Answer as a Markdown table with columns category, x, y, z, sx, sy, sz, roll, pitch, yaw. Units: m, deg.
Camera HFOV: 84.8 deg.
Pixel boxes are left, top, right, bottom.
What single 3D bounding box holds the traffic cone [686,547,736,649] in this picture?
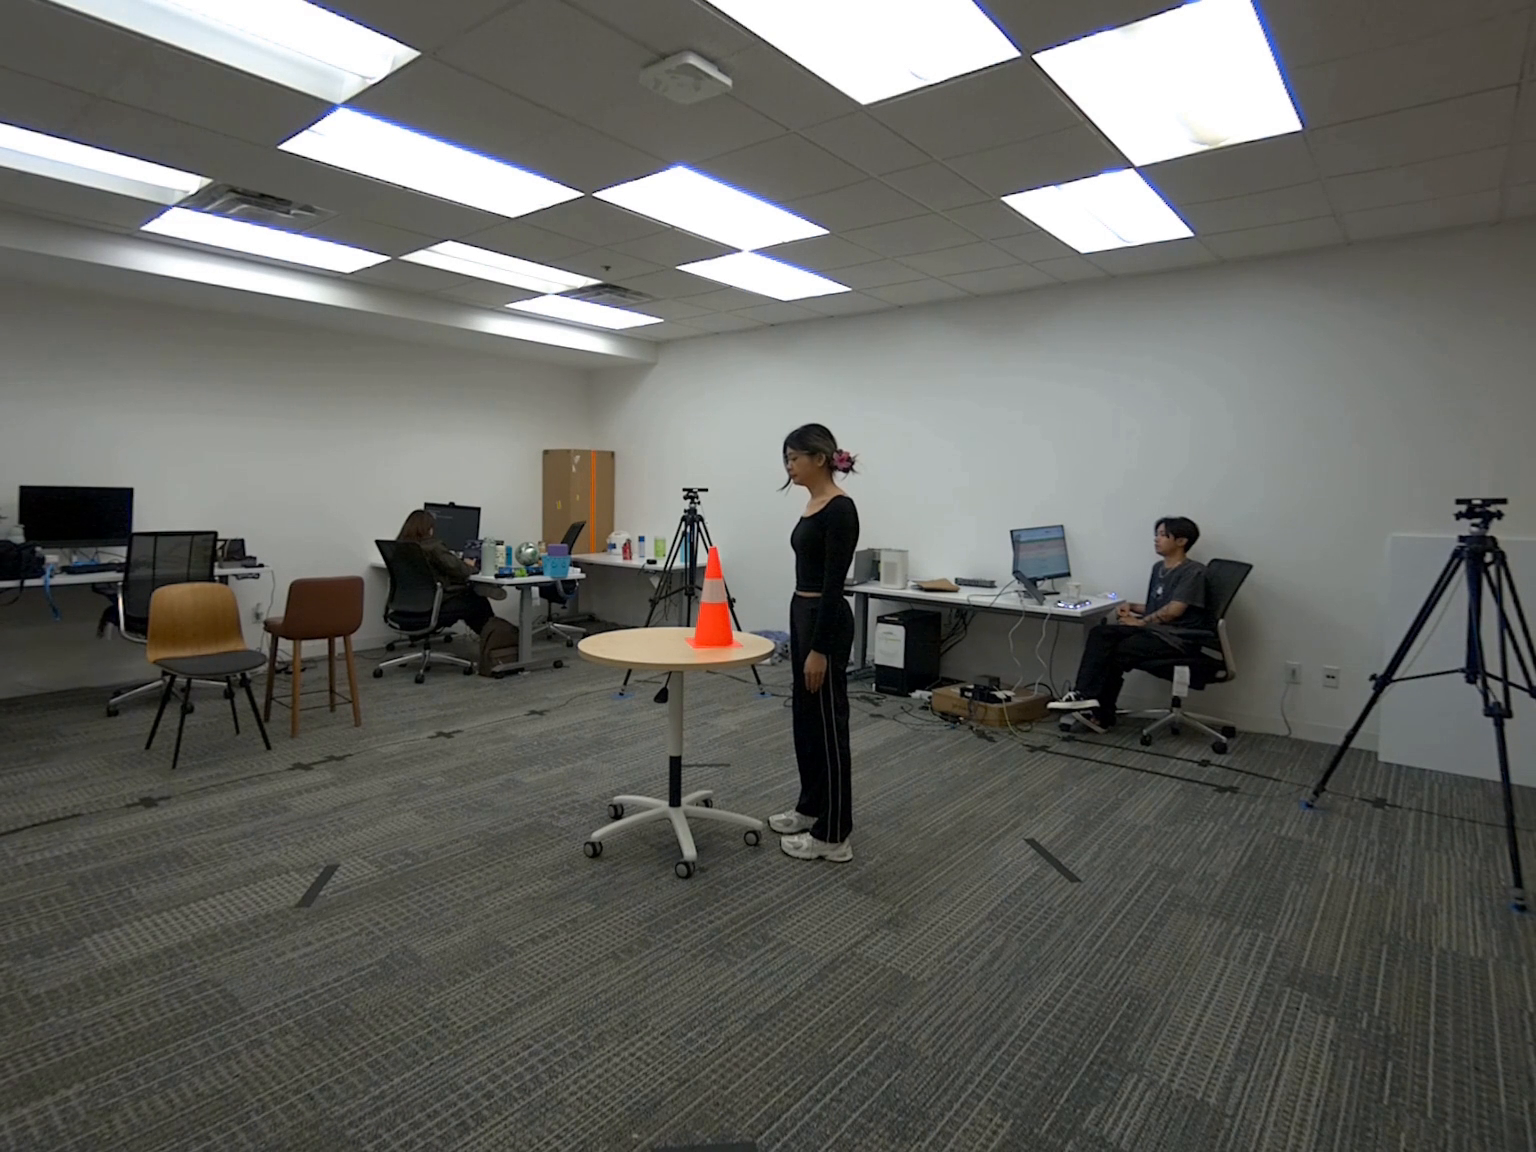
| category | x | y | z | sx | sy | sz | roll | pitch | yaw |
| --- | --- | --- | --- | --- | --- | --- | --- | --- | --- |
| traffic cone | -0.221 | 0.074 | 3.346 | 0.200 | 0.383 | 0.208 | 1 | 3 | -14 |
